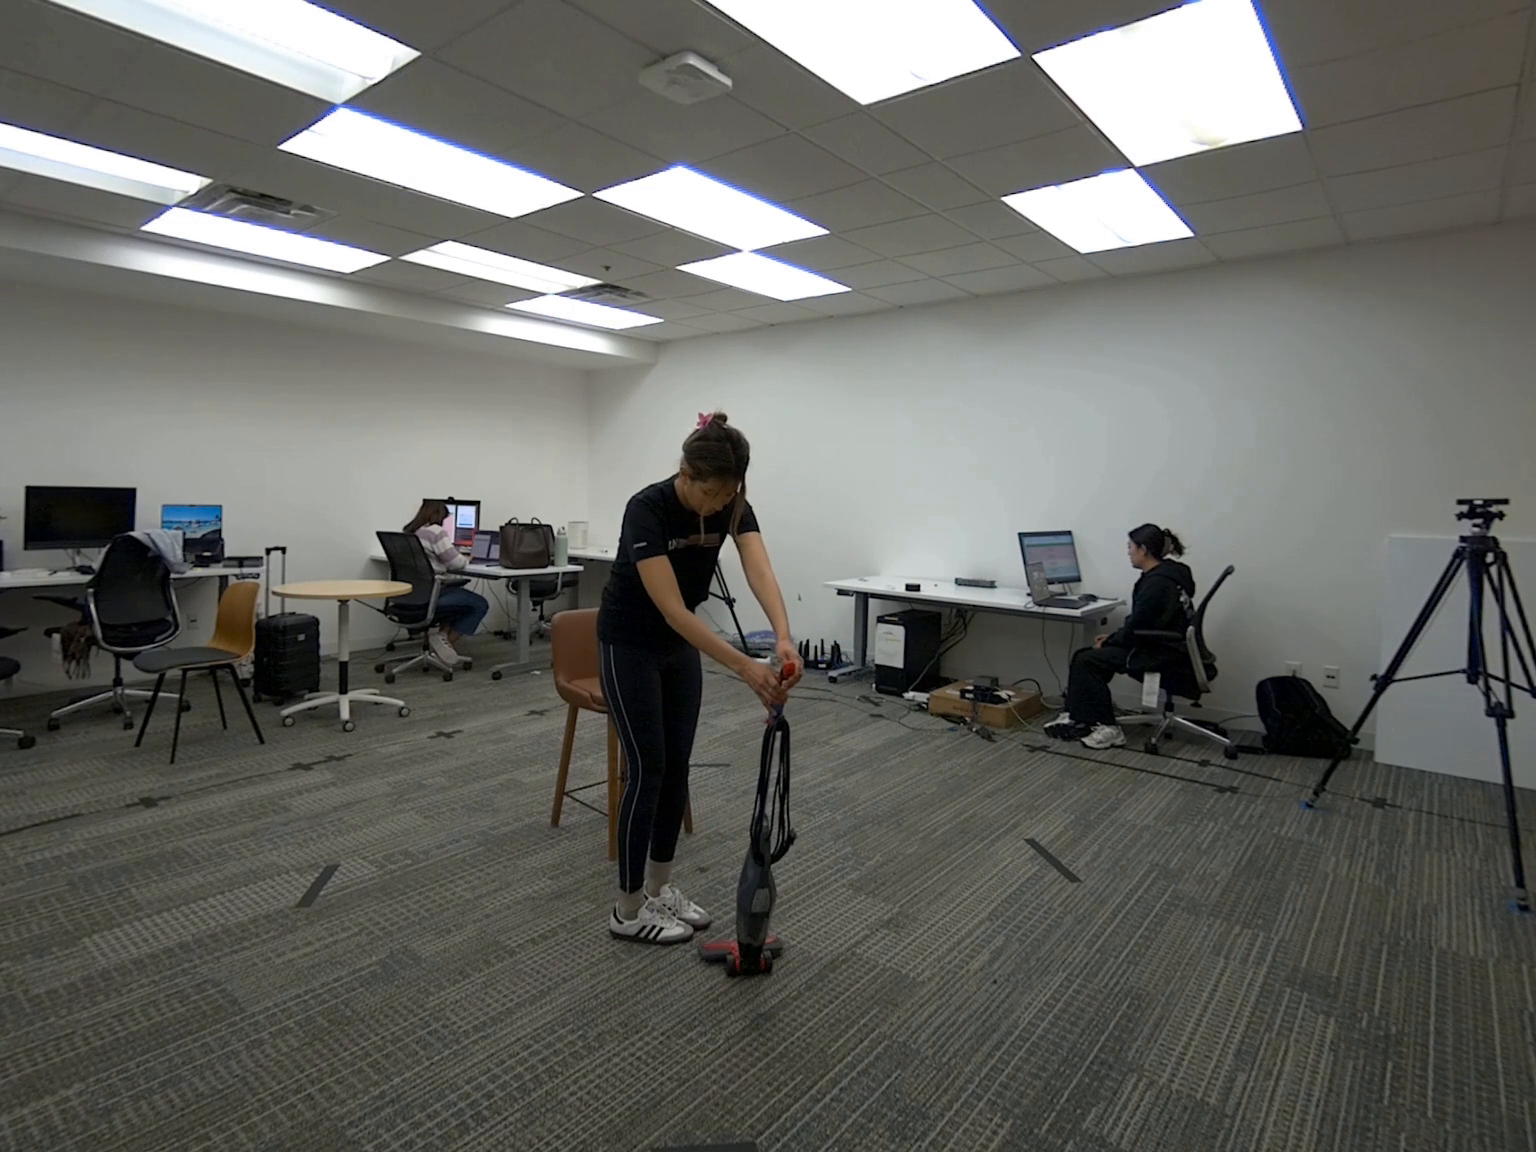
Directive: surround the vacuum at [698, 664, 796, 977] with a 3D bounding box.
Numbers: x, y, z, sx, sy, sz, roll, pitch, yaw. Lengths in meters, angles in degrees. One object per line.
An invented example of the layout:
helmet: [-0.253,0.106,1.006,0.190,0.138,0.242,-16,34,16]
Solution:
vacuum: [-0.015,0.672,2.263,0.249,1.028,0.149,-1,28,-15]
